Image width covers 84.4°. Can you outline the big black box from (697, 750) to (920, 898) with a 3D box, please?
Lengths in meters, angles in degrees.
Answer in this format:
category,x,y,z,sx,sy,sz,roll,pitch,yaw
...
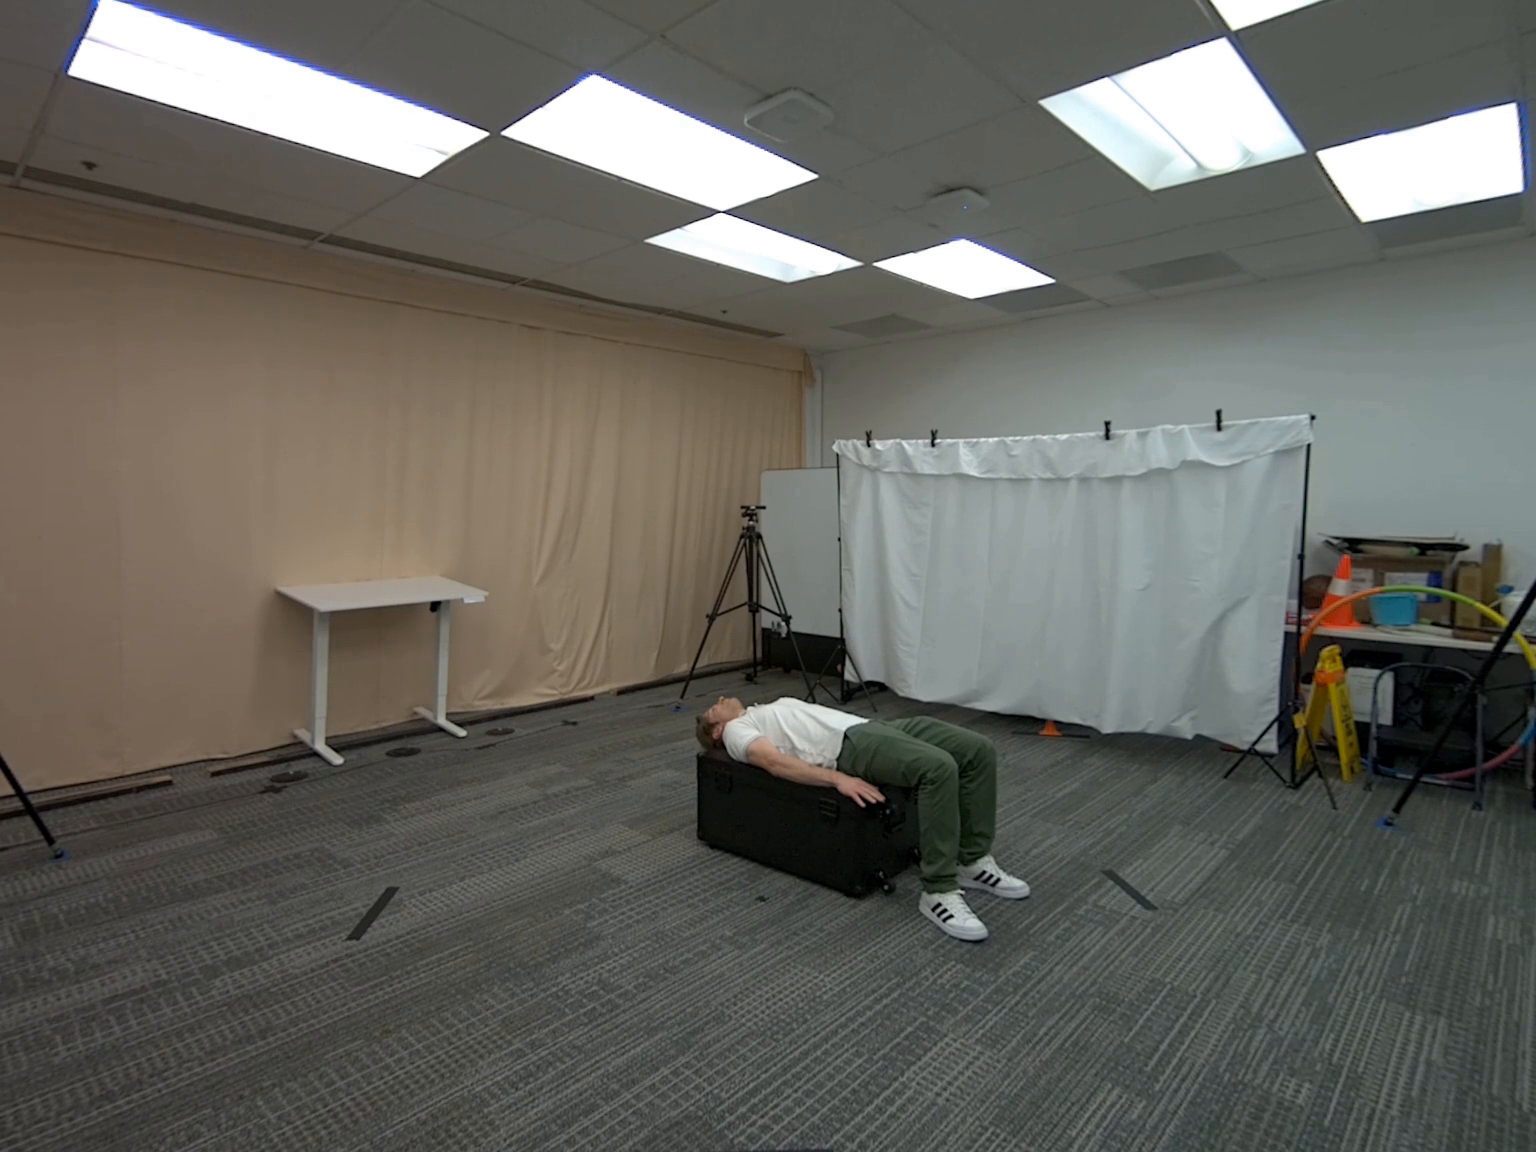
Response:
category,x,y,z,sx,sy,sz,roll,pitch,yaw
big black box,0.191,0.924,3.346,0.897,0.384,0.507,5,6,39
